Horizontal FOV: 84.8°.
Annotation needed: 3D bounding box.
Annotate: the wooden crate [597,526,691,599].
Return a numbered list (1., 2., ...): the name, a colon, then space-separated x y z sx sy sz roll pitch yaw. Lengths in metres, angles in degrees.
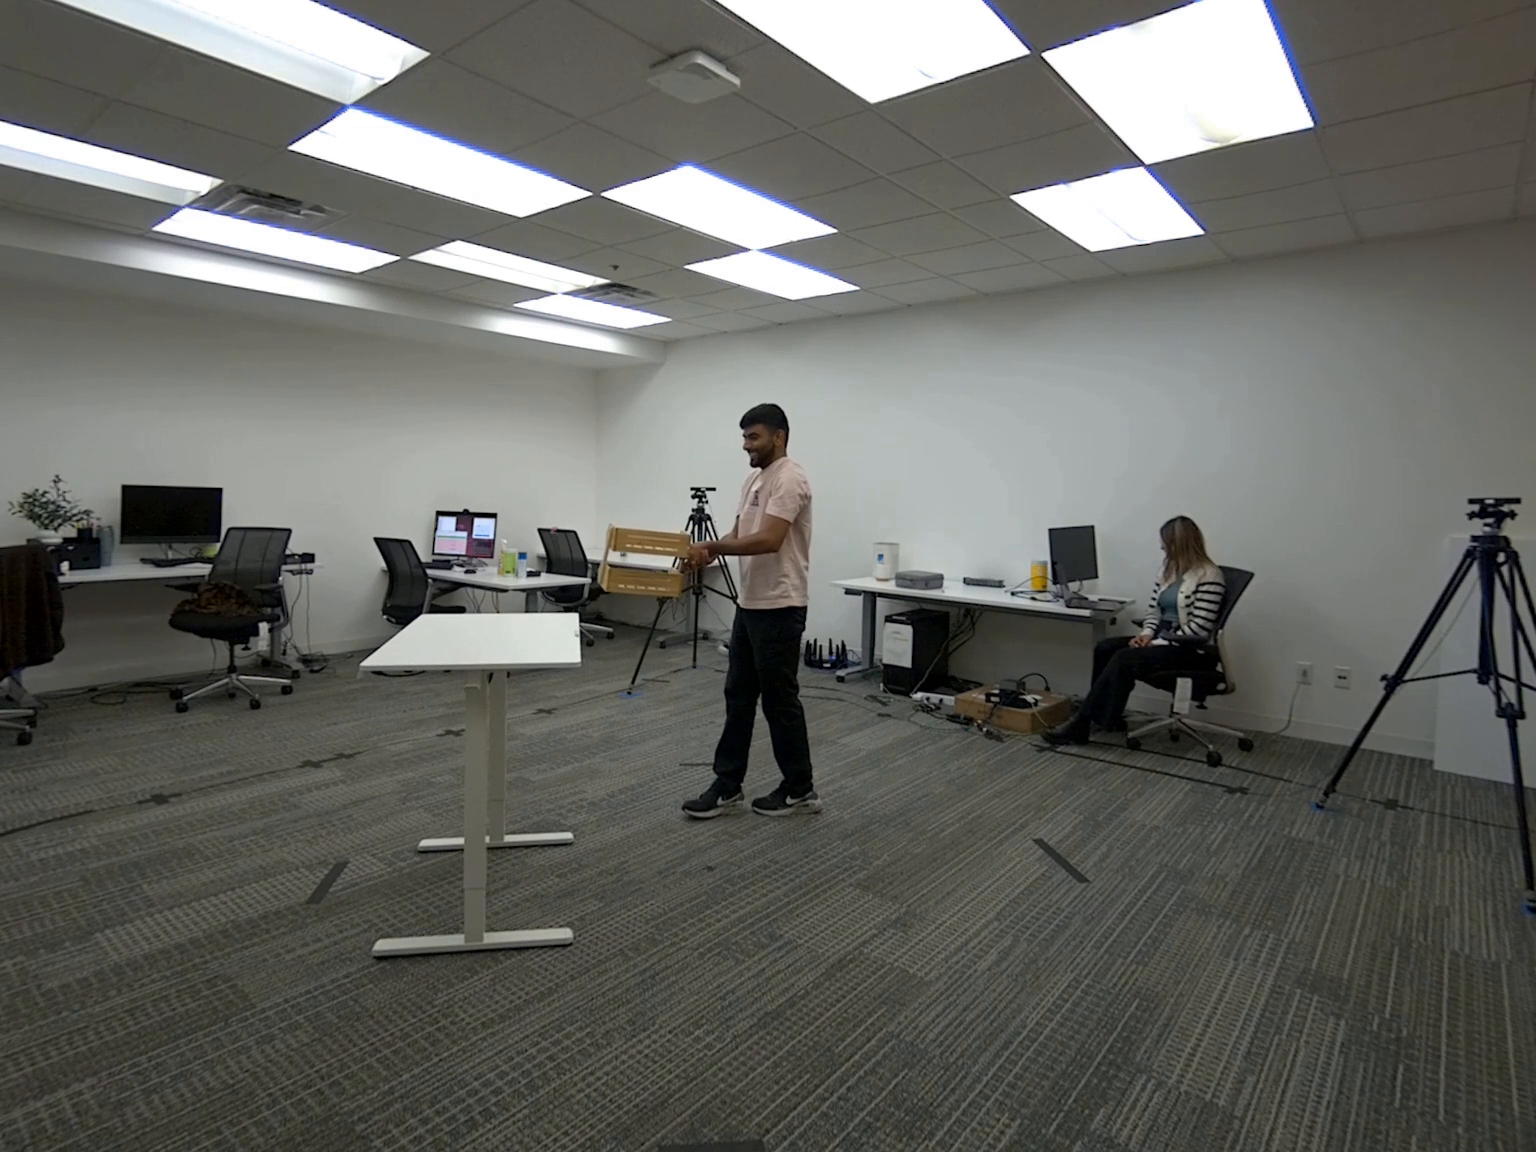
1. wooden crate: -0.510 -0.078 3.422 0.319 0.272 0.308 6 7 -14
